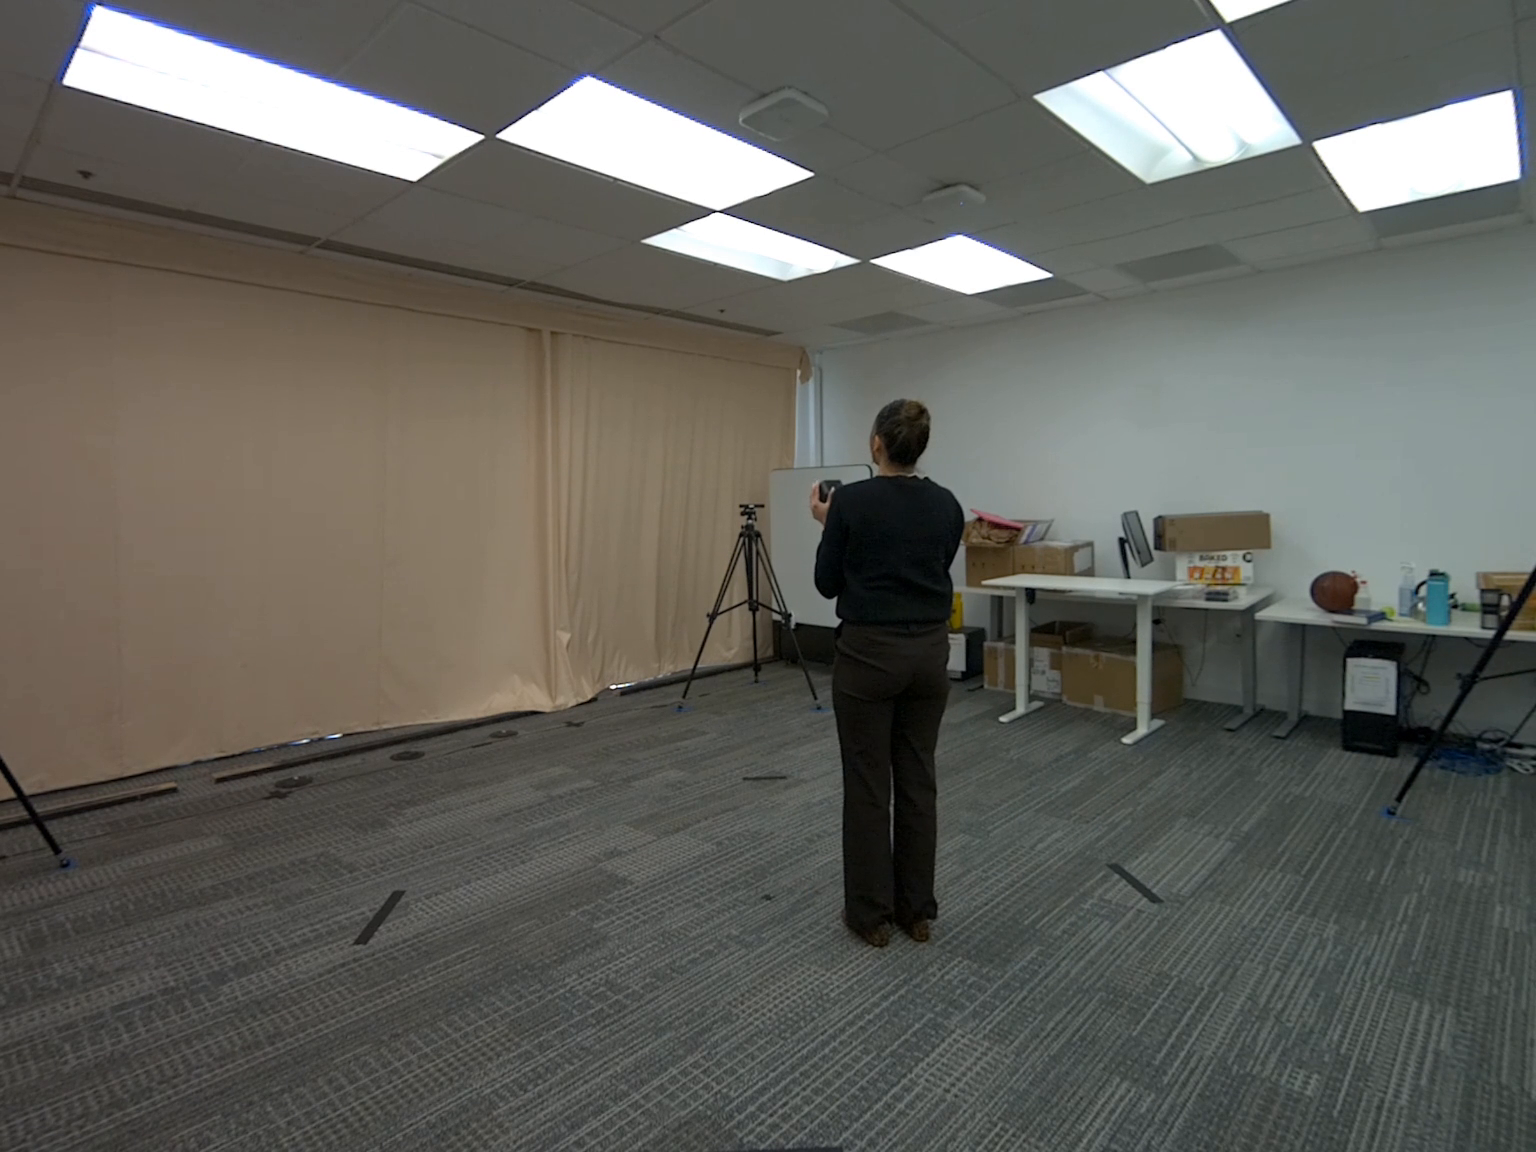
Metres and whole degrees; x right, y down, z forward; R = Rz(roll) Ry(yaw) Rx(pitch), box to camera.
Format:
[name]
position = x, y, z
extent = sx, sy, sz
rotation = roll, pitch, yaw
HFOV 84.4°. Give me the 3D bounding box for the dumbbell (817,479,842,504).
[dumbbell]
position = 0.319, -0.262, 2.882
extent = 0.290, 0.107, 0.126
rotation = 4, 38, -11
